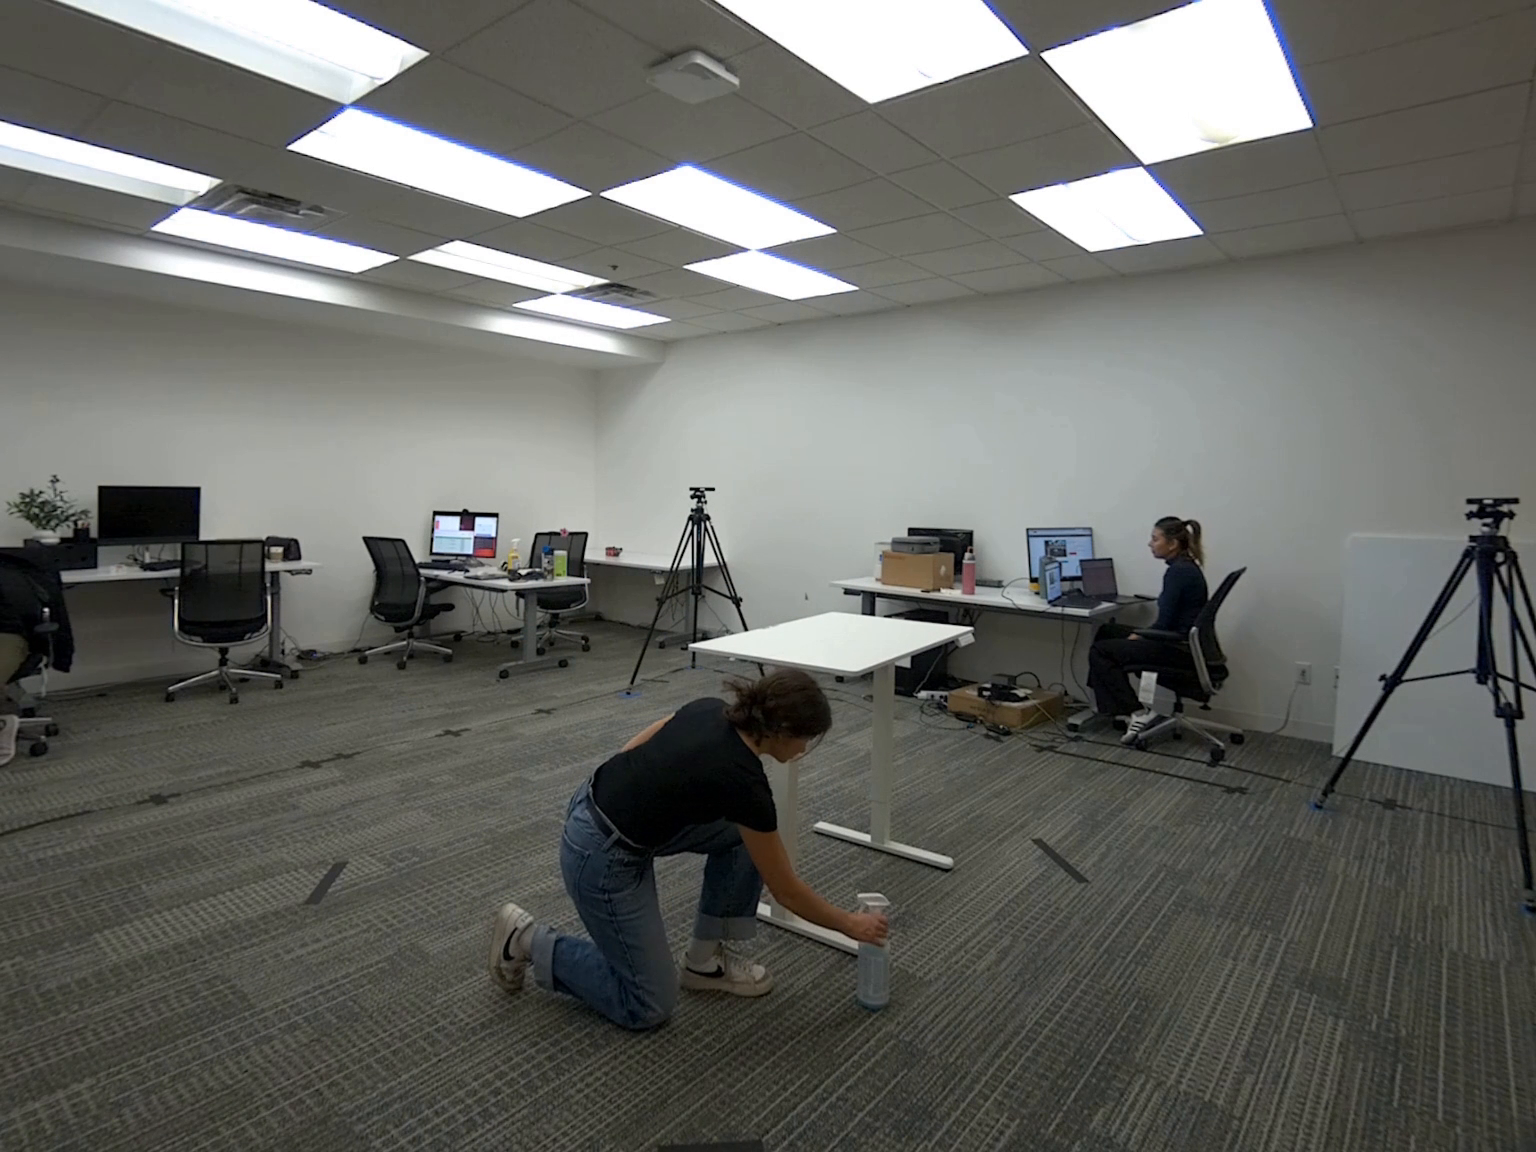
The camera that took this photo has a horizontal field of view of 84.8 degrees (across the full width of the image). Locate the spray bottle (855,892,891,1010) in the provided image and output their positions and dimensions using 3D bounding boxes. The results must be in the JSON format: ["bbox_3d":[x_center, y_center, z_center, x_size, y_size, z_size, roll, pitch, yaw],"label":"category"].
[{"bbox_3d":[0.282,1.013,2.308,0.091,0.297,0.086,-1,2,11],"label":"spray bottle"}]
